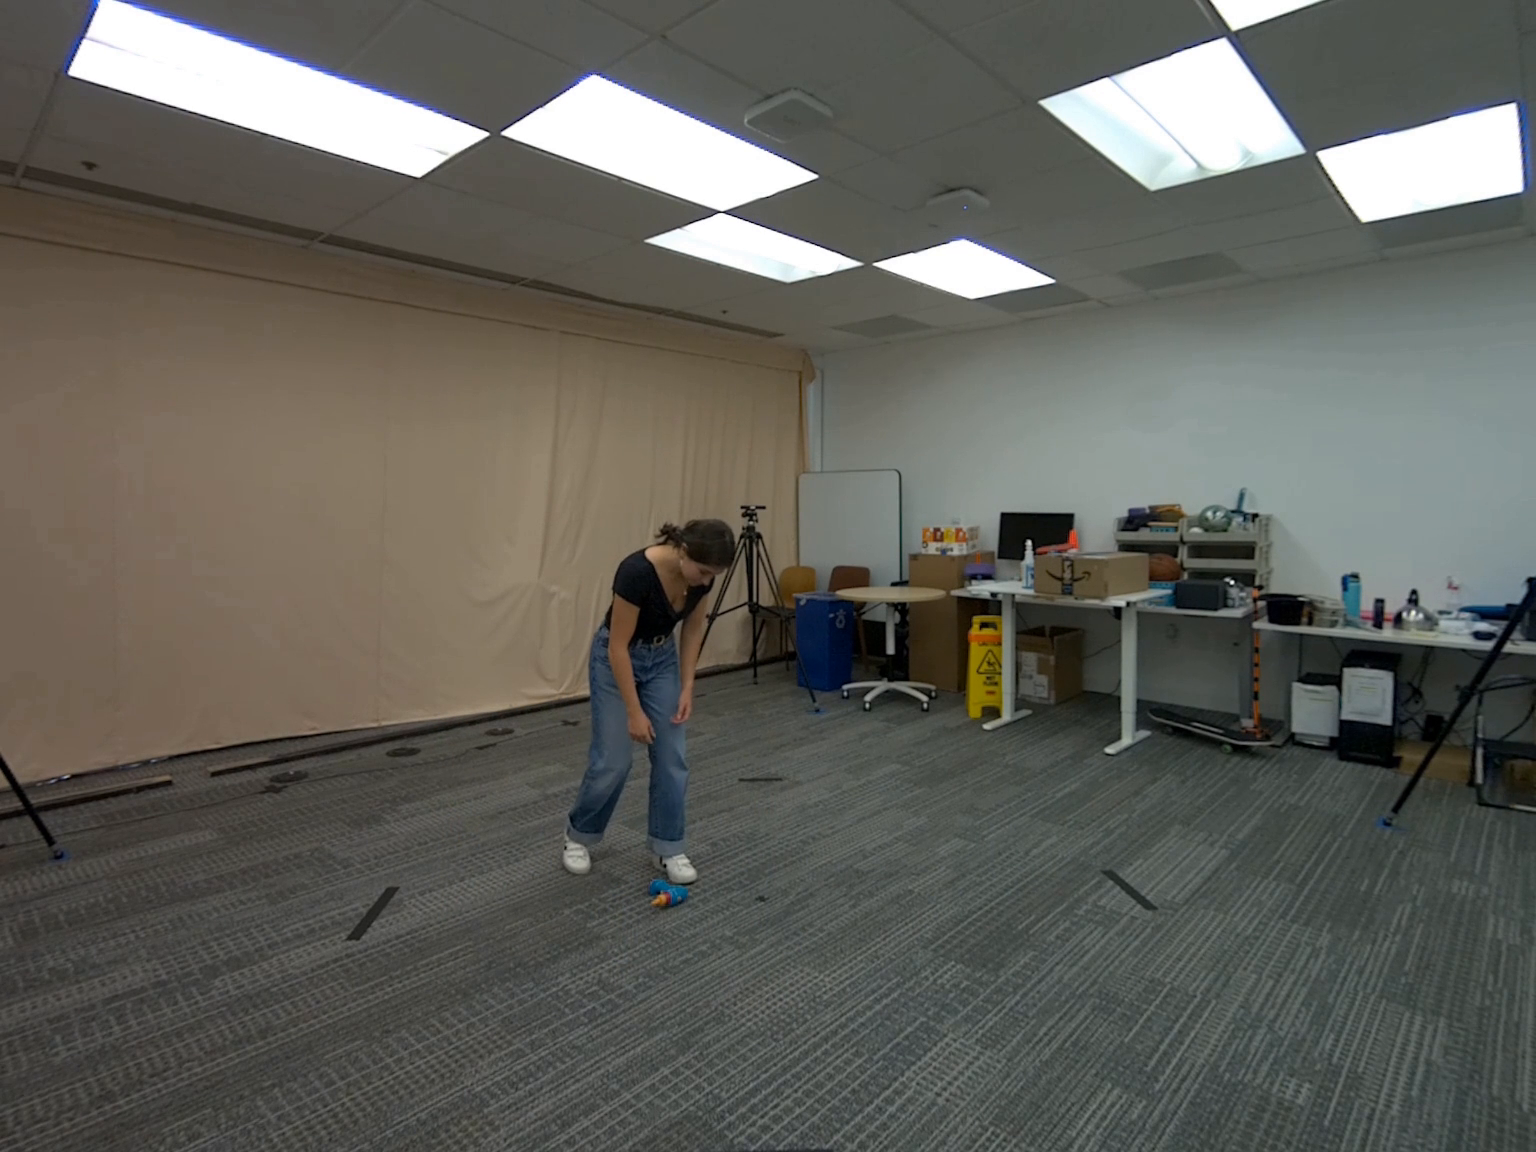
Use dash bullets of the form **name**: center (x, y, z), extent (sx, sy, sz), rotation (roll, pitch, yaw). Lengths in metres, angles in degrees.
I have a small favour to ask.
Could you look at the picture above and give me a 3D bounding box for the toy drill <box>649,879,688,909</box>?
- **toy drill**: center (-0.369, 1.120, 2.957), extent (0.151, 0.061, 0.164), rotation (3, 1, 38)
